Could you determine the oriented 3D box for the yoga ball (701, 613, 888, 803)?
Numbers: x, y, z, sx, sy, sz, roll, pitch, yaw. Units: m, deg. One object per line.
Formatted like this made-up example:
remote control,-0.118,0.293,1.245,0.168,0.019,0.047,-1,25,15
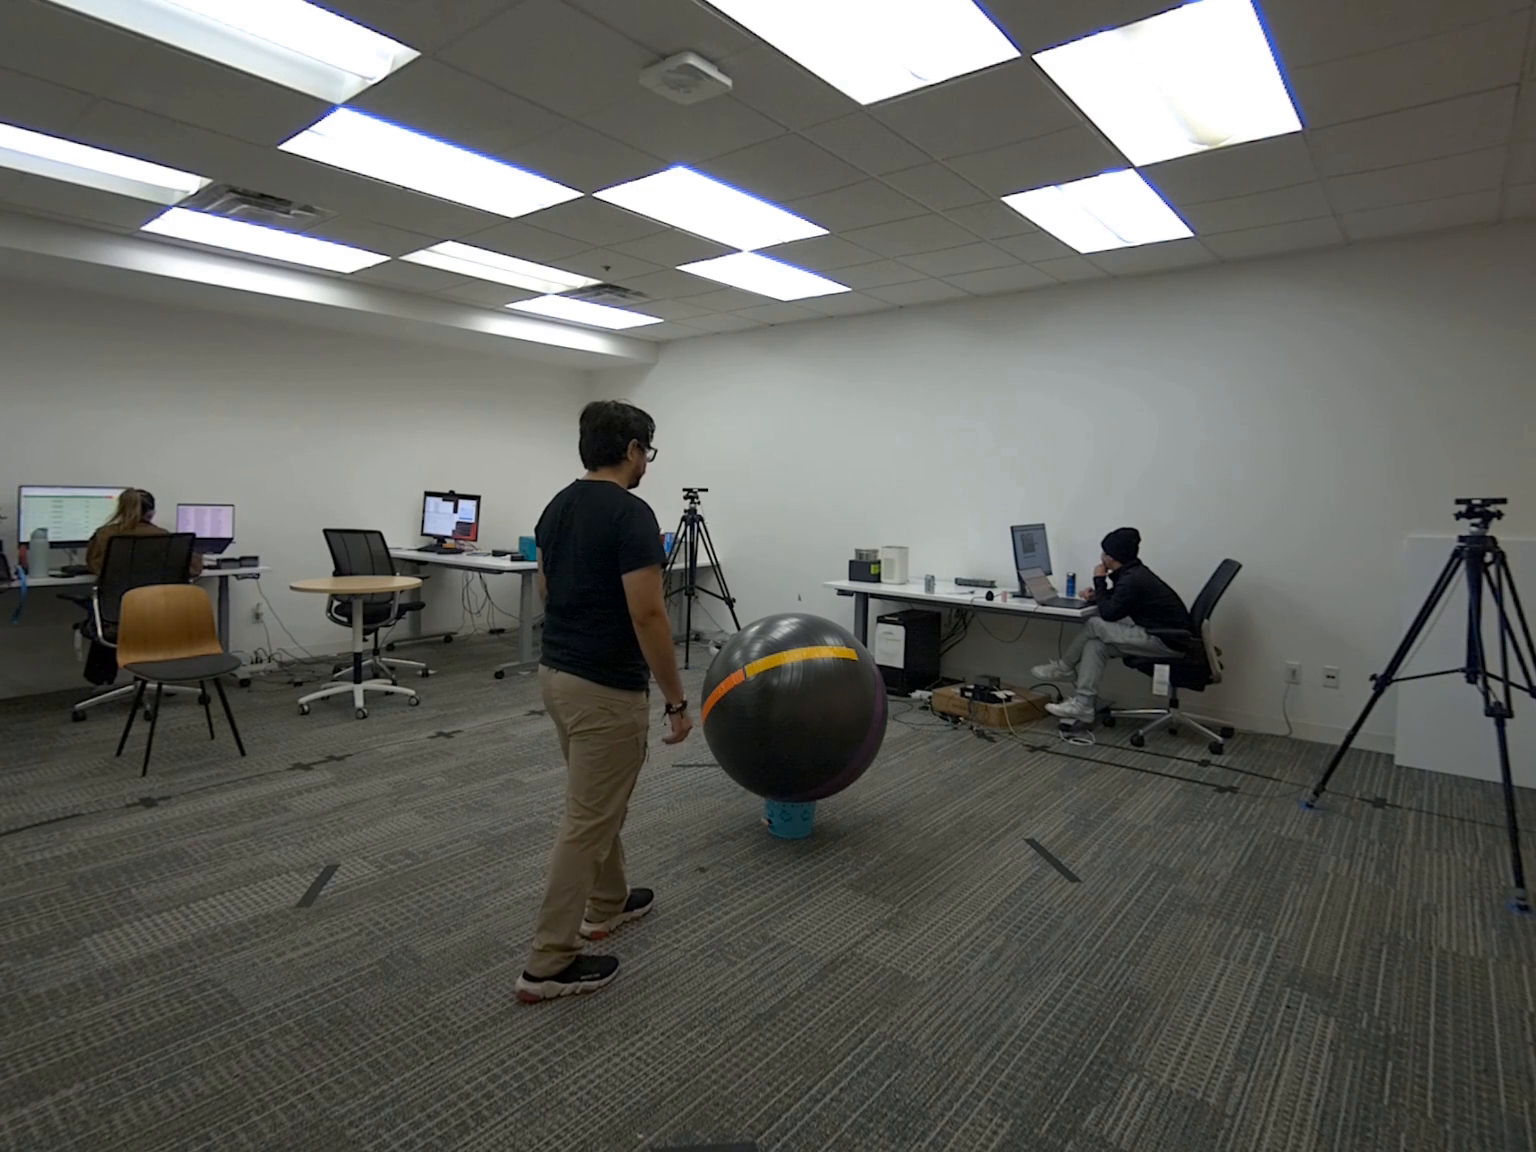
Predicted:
yoga ball,0.094,0.530,3.468,0.757,0.755,0.762,1,4,-2
